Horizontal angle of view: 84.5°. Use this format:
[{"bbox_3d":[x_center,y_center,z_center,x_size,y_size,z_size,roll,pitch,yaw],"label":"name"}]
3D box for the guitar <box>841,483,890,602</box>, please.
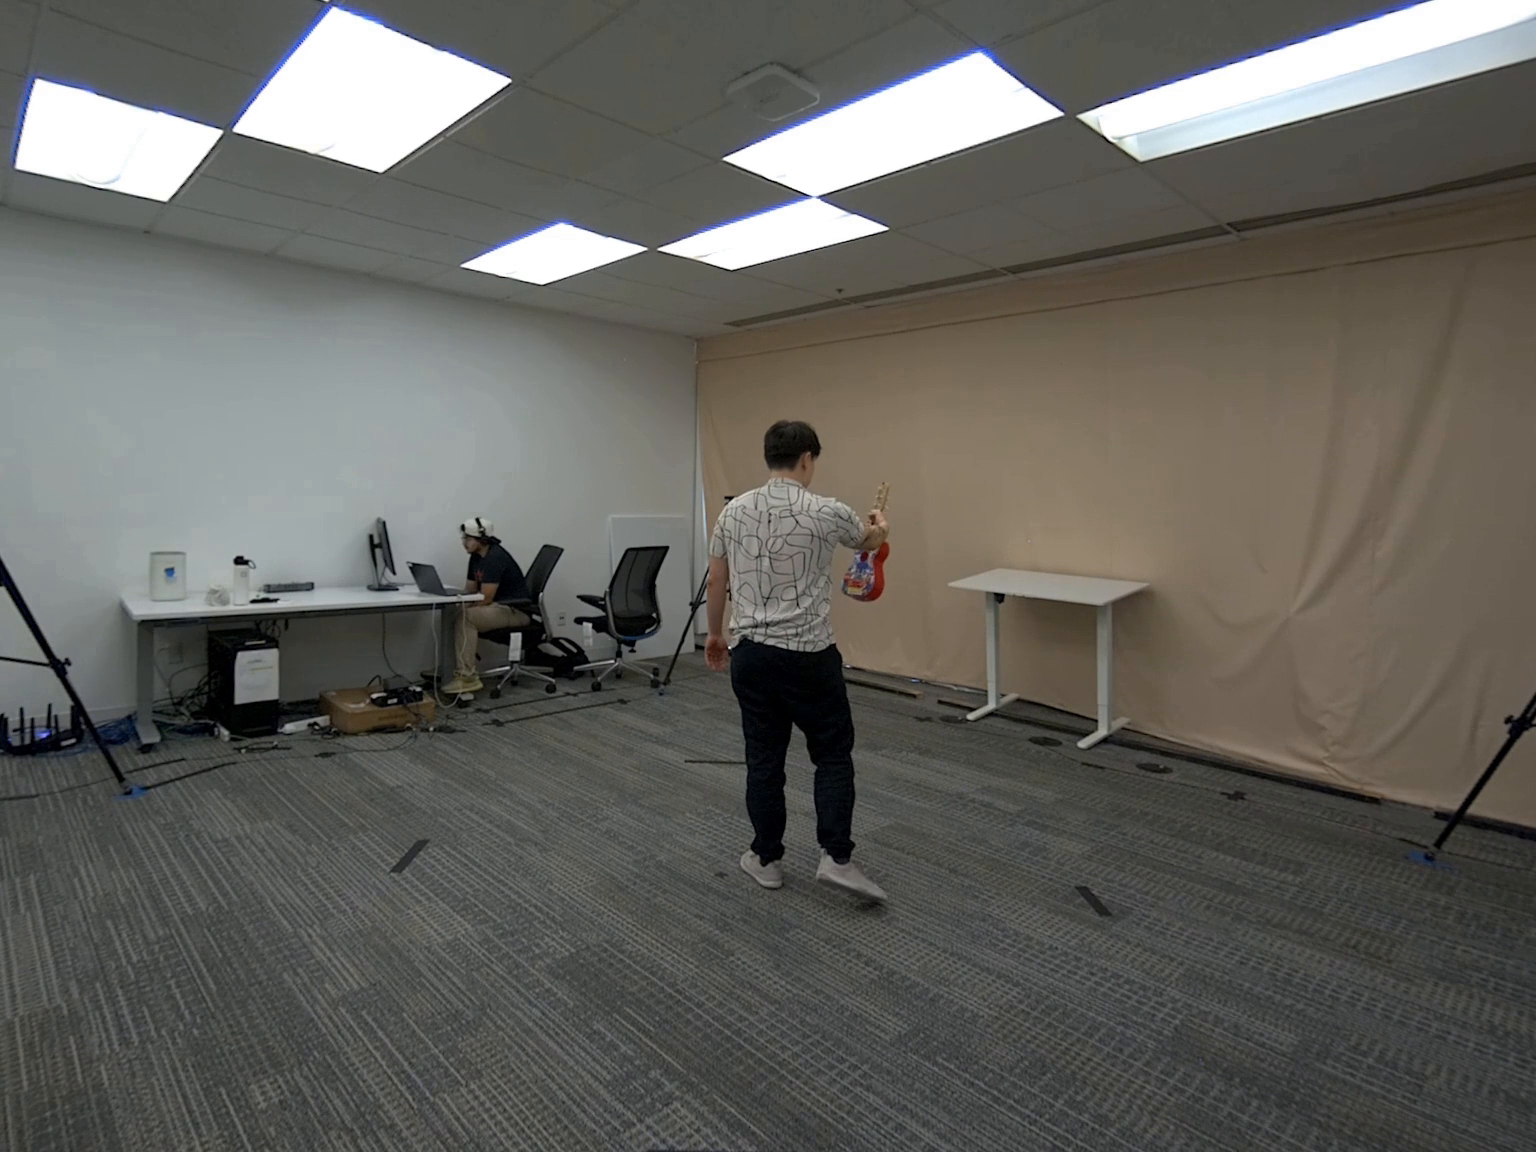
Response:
[{"bbox_3d":[0.438,-0.139,3.444,0.069,0.498,0.198,21,-1,-33],"label":"guitar"}]
